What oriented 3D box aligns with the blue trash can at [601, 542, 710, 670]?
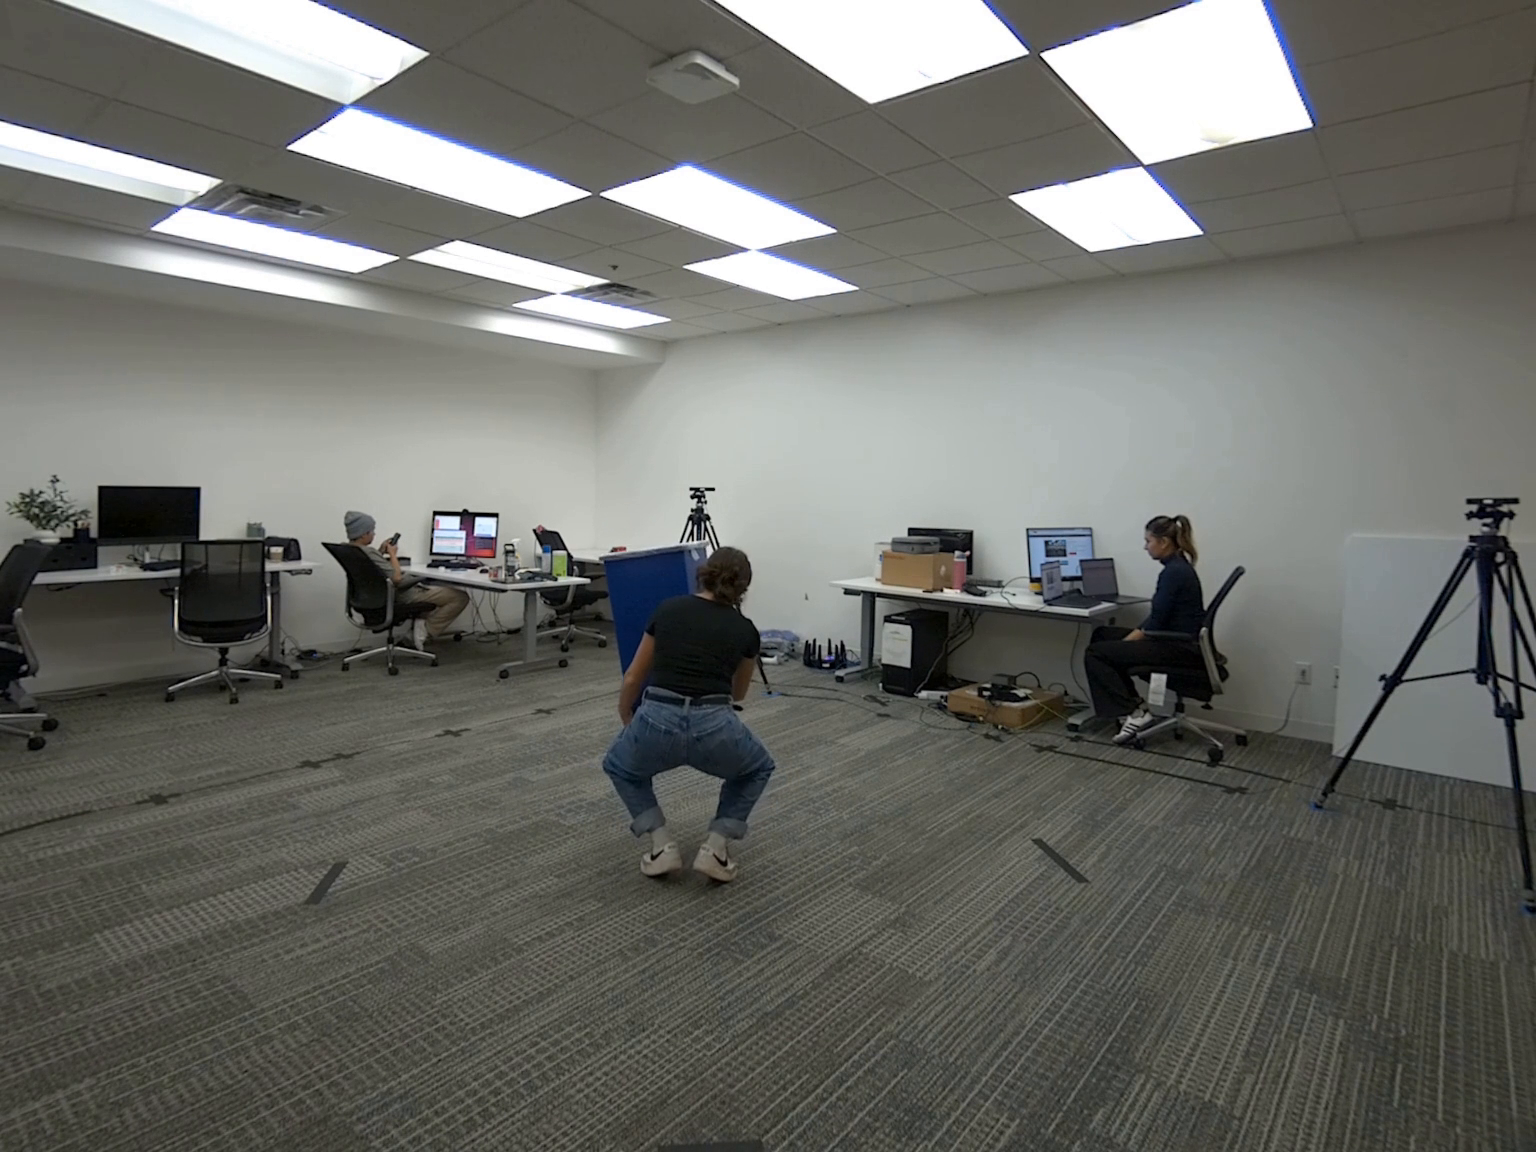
[{"bbox_3d":[-0.424,0.235,3.424,0.379,0.714,0.373,-7,0,14],"label":"blue trash can"}]
